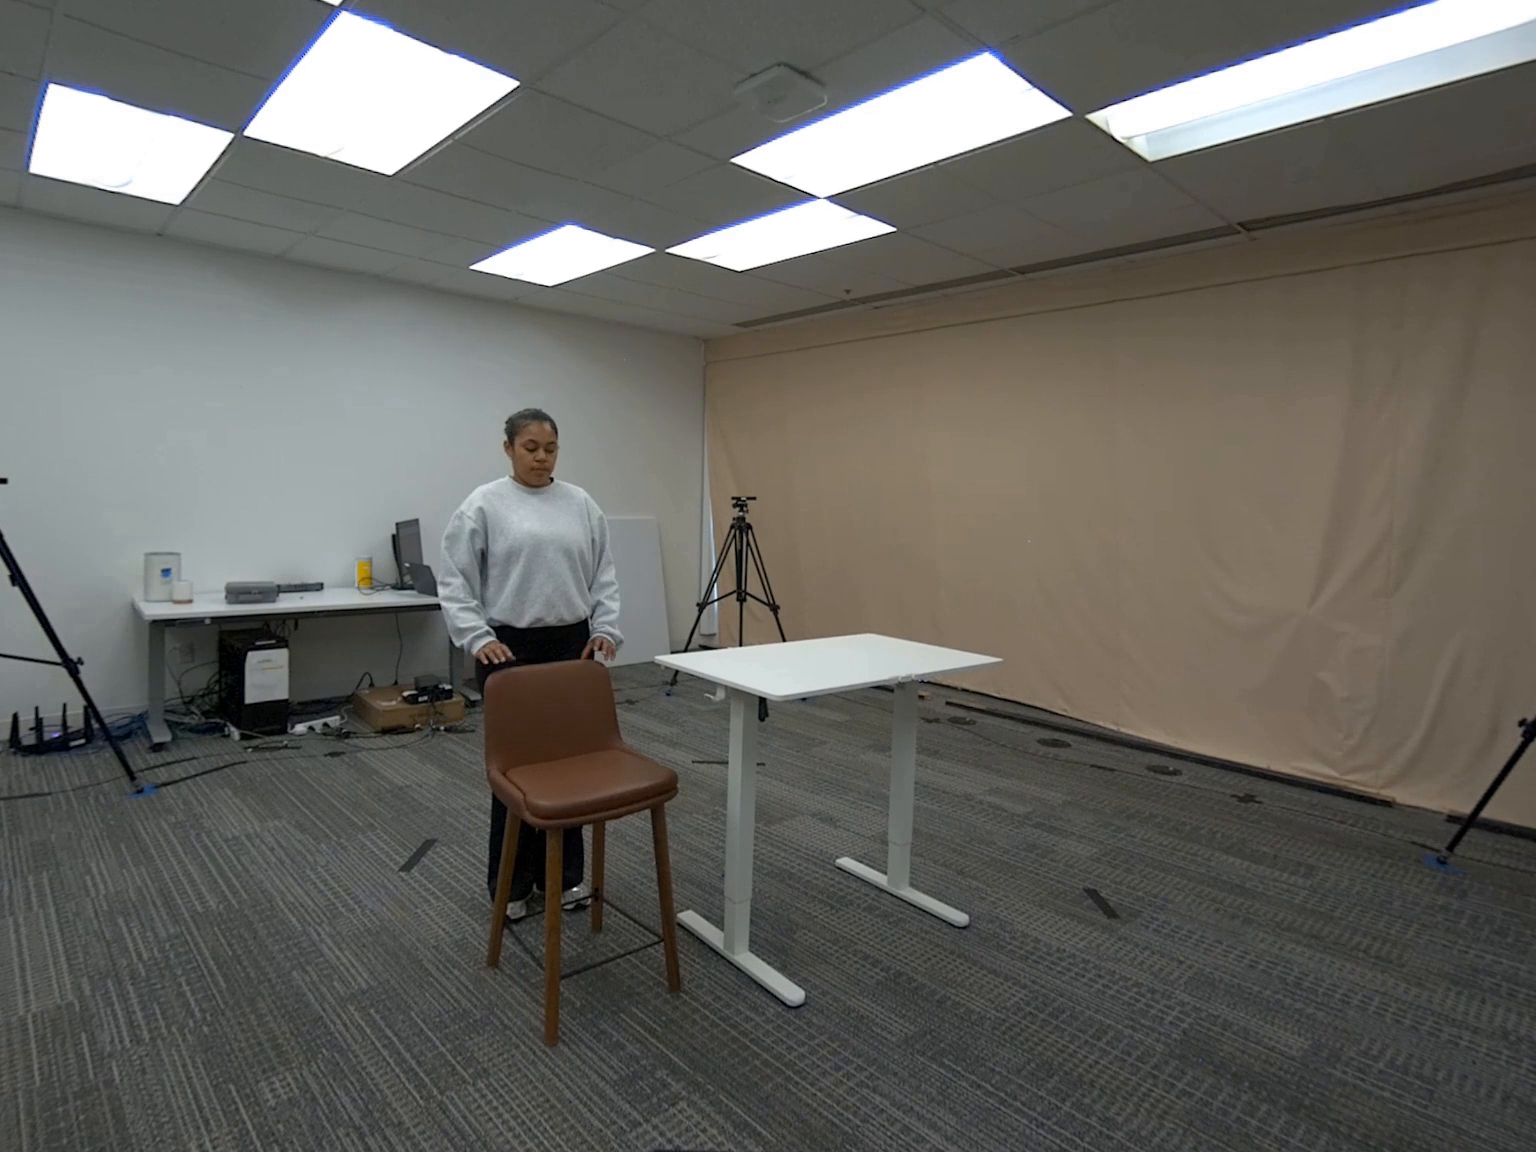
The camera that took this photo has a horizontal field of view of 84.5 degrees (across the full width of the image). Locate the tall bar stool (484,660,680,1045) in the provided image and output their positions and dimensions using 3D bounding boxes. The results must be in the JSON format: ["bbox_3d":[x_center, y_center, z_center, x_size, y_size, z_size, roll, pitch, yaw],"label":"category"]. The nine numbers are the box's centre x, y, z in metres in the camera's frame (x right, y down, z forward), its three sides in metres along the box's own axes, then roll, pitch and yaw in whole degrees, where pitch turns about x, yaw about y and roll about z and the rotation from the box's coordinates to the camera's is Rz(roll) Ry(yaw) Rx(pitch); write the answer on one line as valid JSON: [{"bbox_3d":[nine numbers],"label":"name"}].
[{"bbox_3d":[-0.547,0.729,2.397,0.446,0.889,0.479,-2,2,-40],"label":"tall bar stool"}]
